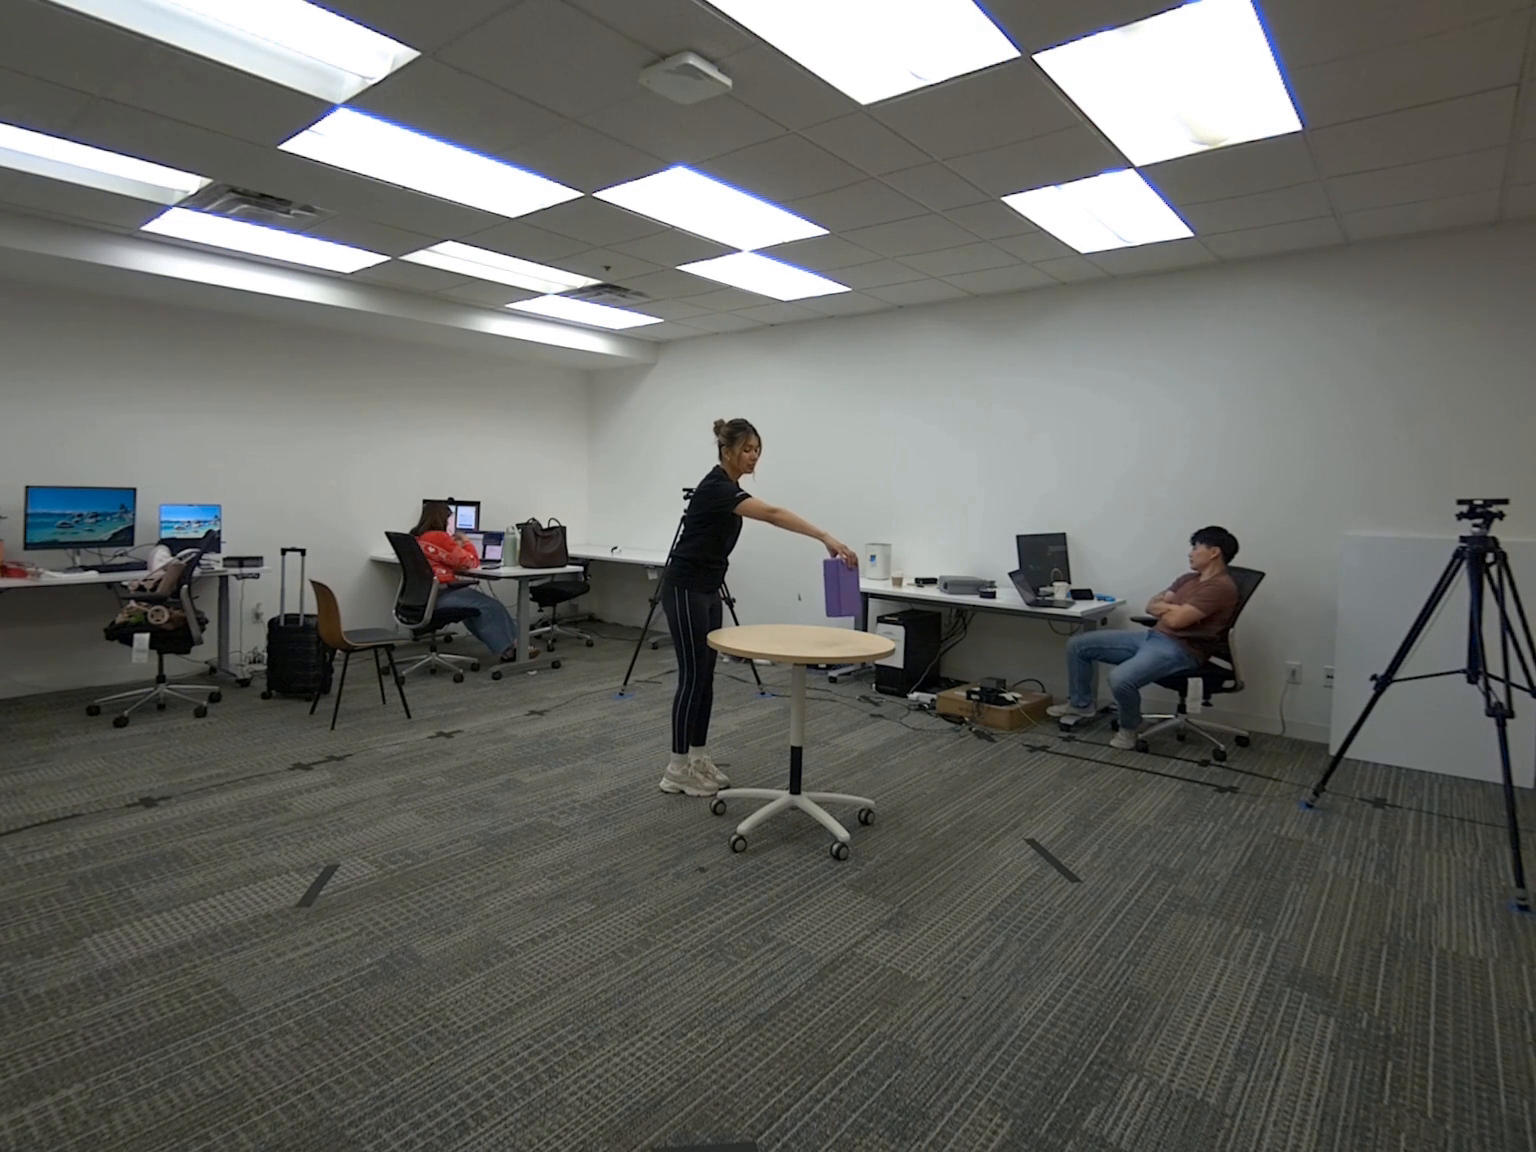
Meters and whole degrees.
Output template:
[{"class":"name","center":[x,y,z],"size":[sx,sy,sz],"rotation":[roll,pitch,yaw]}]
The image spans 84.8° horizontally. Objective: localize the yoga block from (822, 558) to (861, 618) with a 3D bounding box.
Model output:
[{"class":"yoga block","center":[0.288,0.042,3.361],"size":[0.078,0.230,0.144],"rotation":[-6,-6,44]}]
